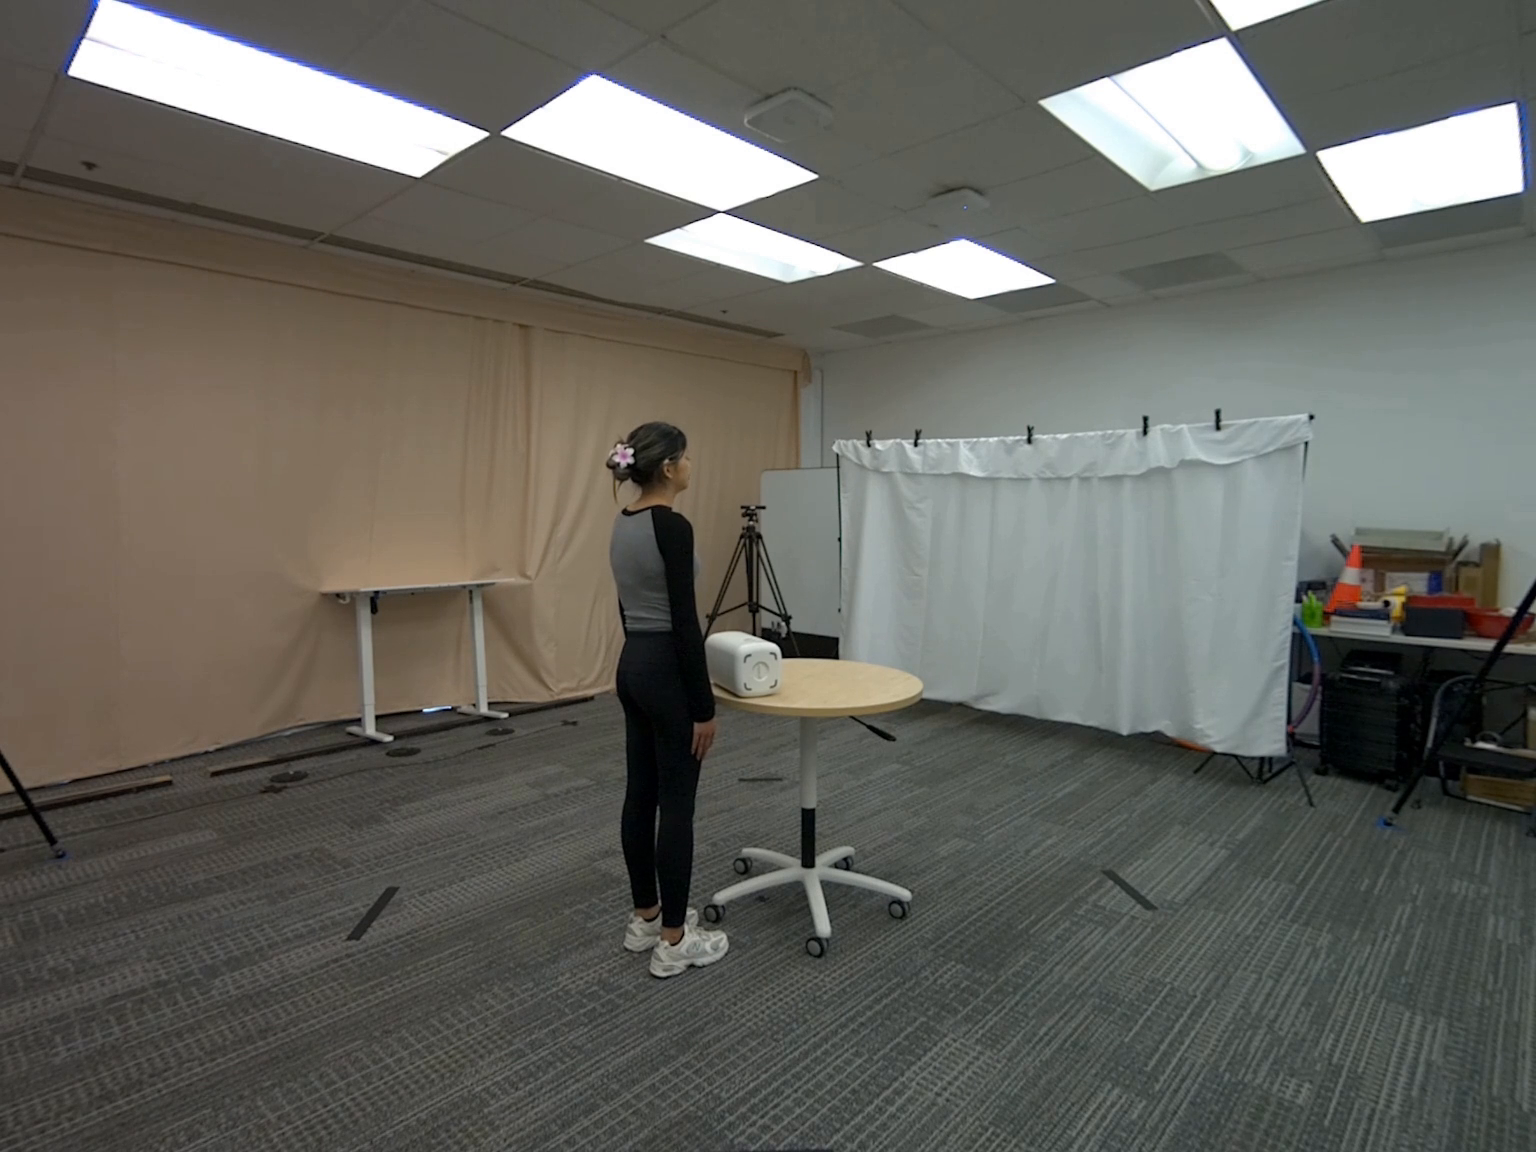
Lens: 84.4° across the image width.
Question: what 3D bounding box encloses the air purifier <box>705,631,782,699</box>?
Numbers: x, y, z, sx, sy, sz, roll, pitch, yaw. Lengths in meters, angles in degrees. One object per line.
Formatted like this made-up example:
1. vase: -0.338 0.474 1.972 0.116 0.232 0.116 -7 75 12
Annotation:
1. air purifier: -0.074 0.284 2.744 0.167 0.171 0.272 -2 5 -25
